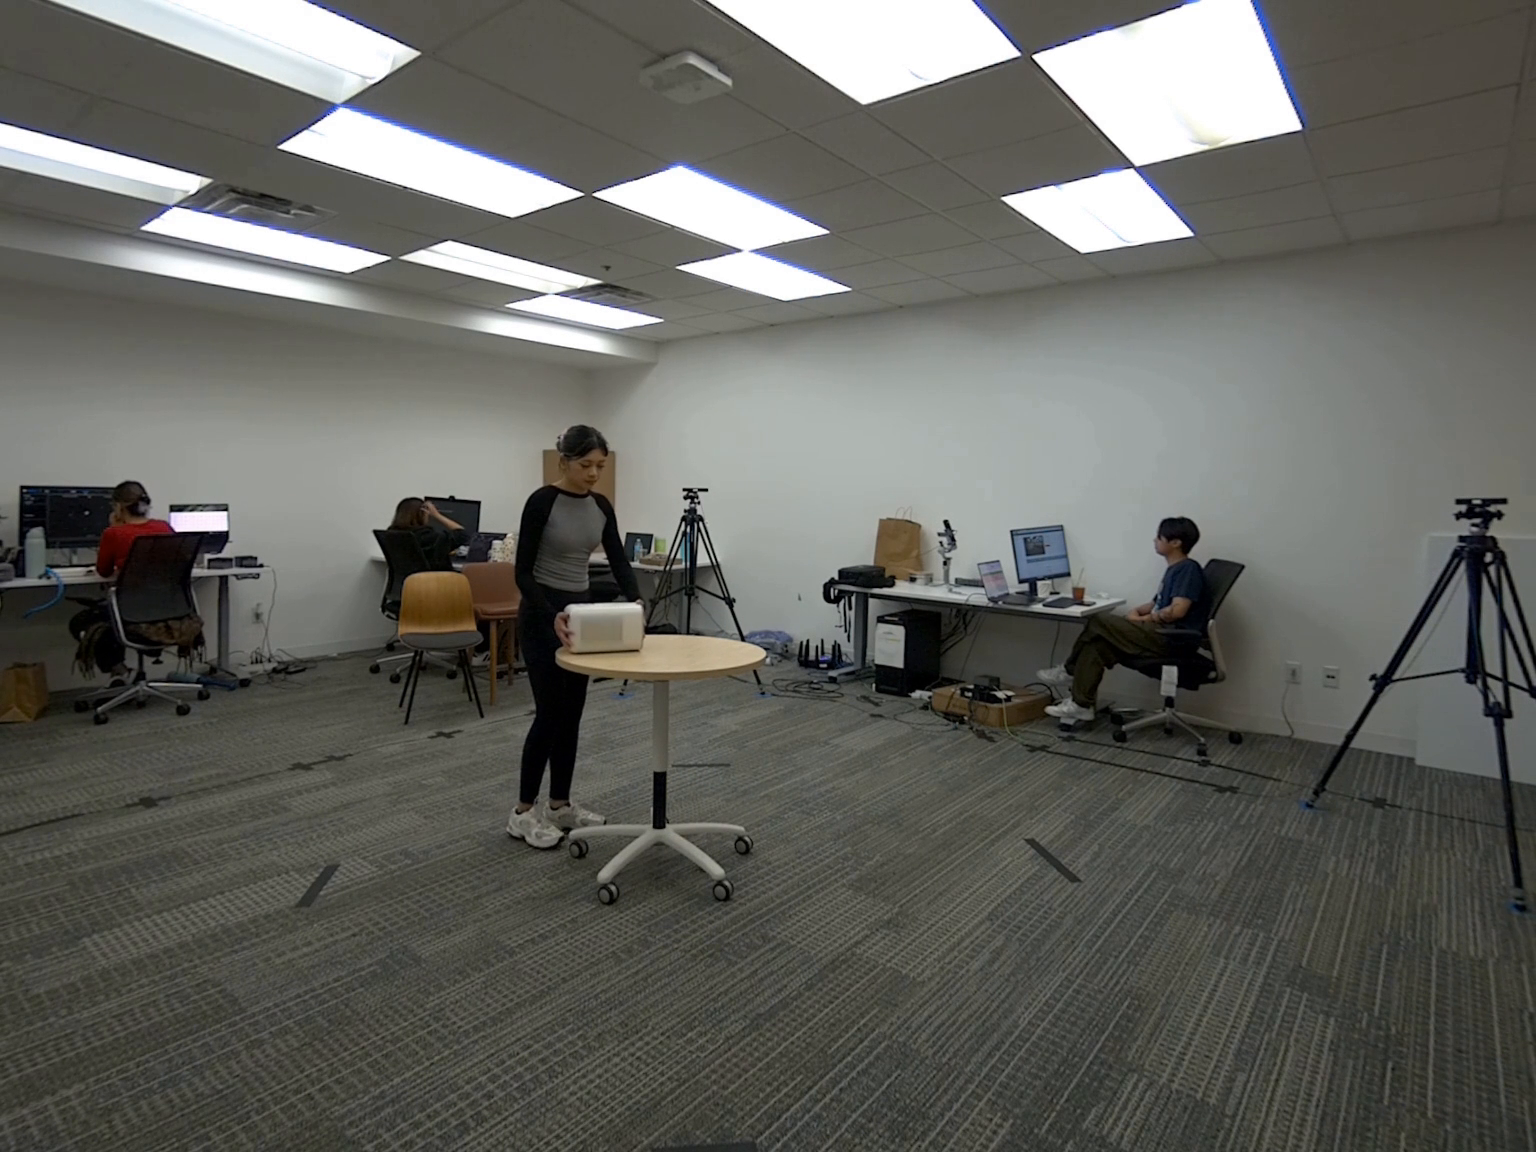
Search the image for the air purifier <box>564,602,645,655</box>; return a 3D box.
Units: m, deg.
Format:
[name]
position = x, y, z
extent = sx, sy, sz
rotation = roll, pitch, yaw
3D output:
[air purifier]
position = -0.609, 0.183, 3.102
extent = 0.260, 0.171, 0.175
rotation = -1, 1, -21
